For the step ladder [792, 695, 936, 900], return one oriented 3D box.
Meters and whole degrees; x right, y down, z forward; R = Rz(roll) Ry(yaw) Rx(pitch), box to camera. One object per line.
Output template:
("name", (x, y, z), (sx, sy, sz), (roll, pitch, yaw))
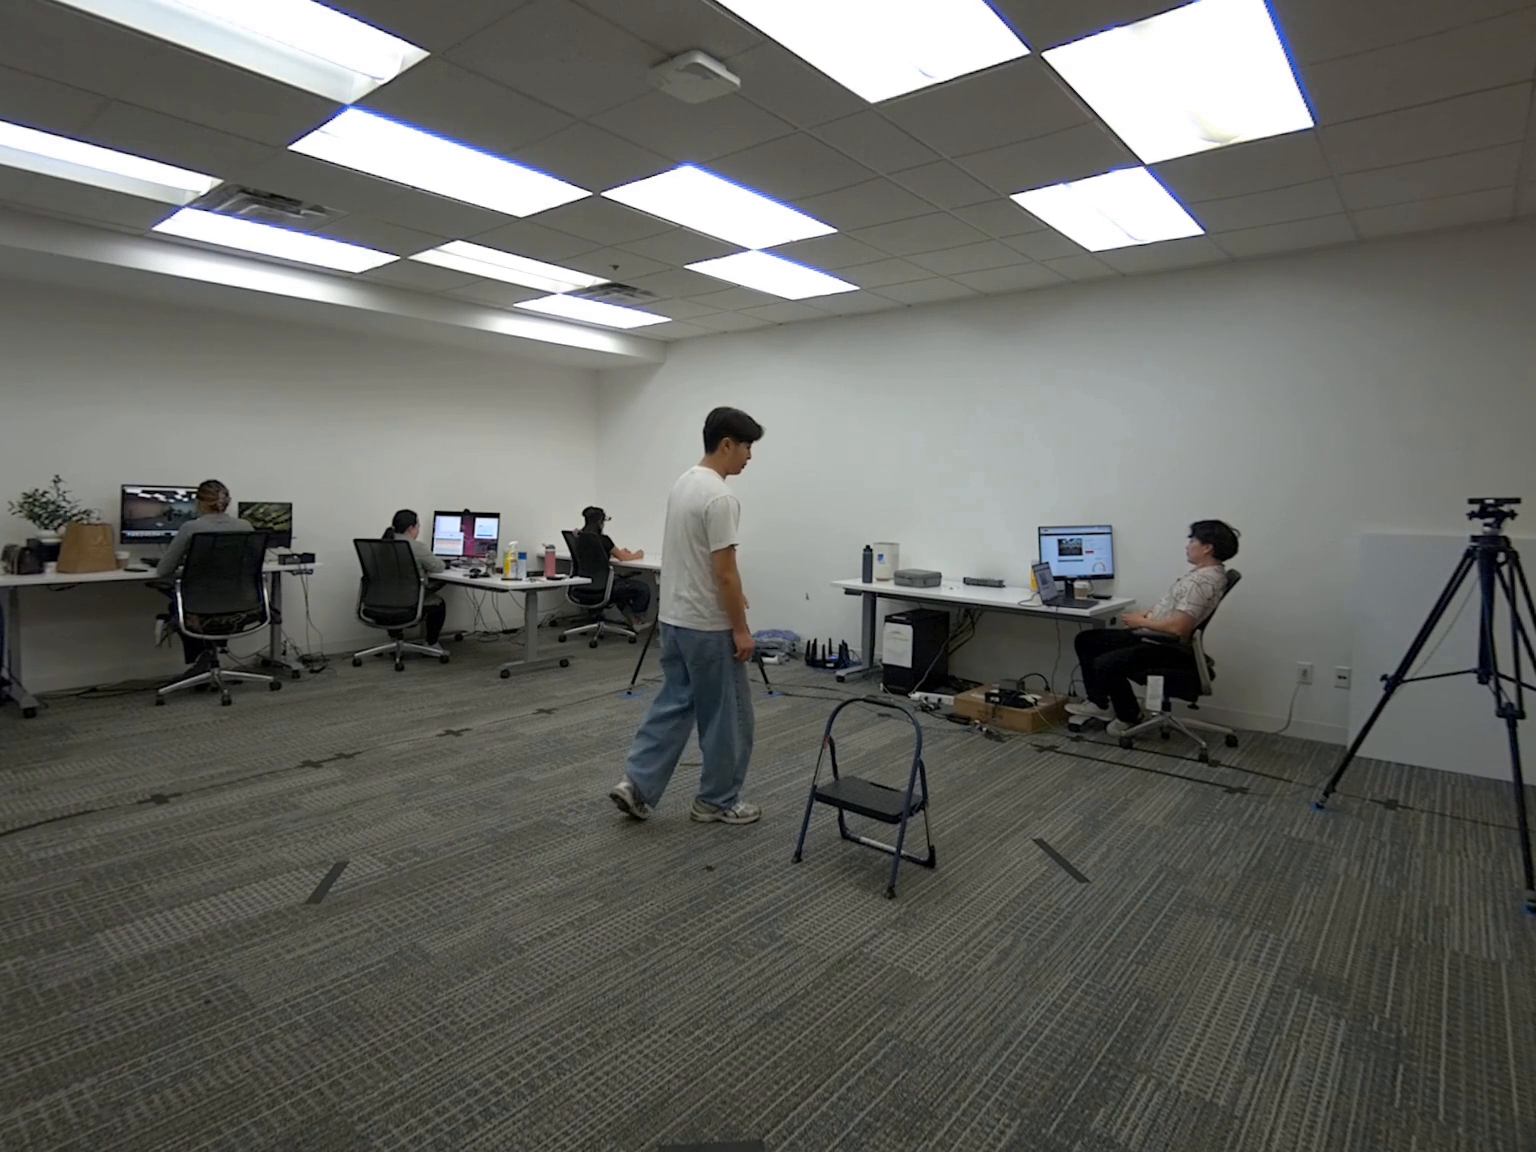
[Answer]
("step ladder", (0.359, 0.768, 3.157), (0.445, 0.604, 0.339), (5, 5, 39))
